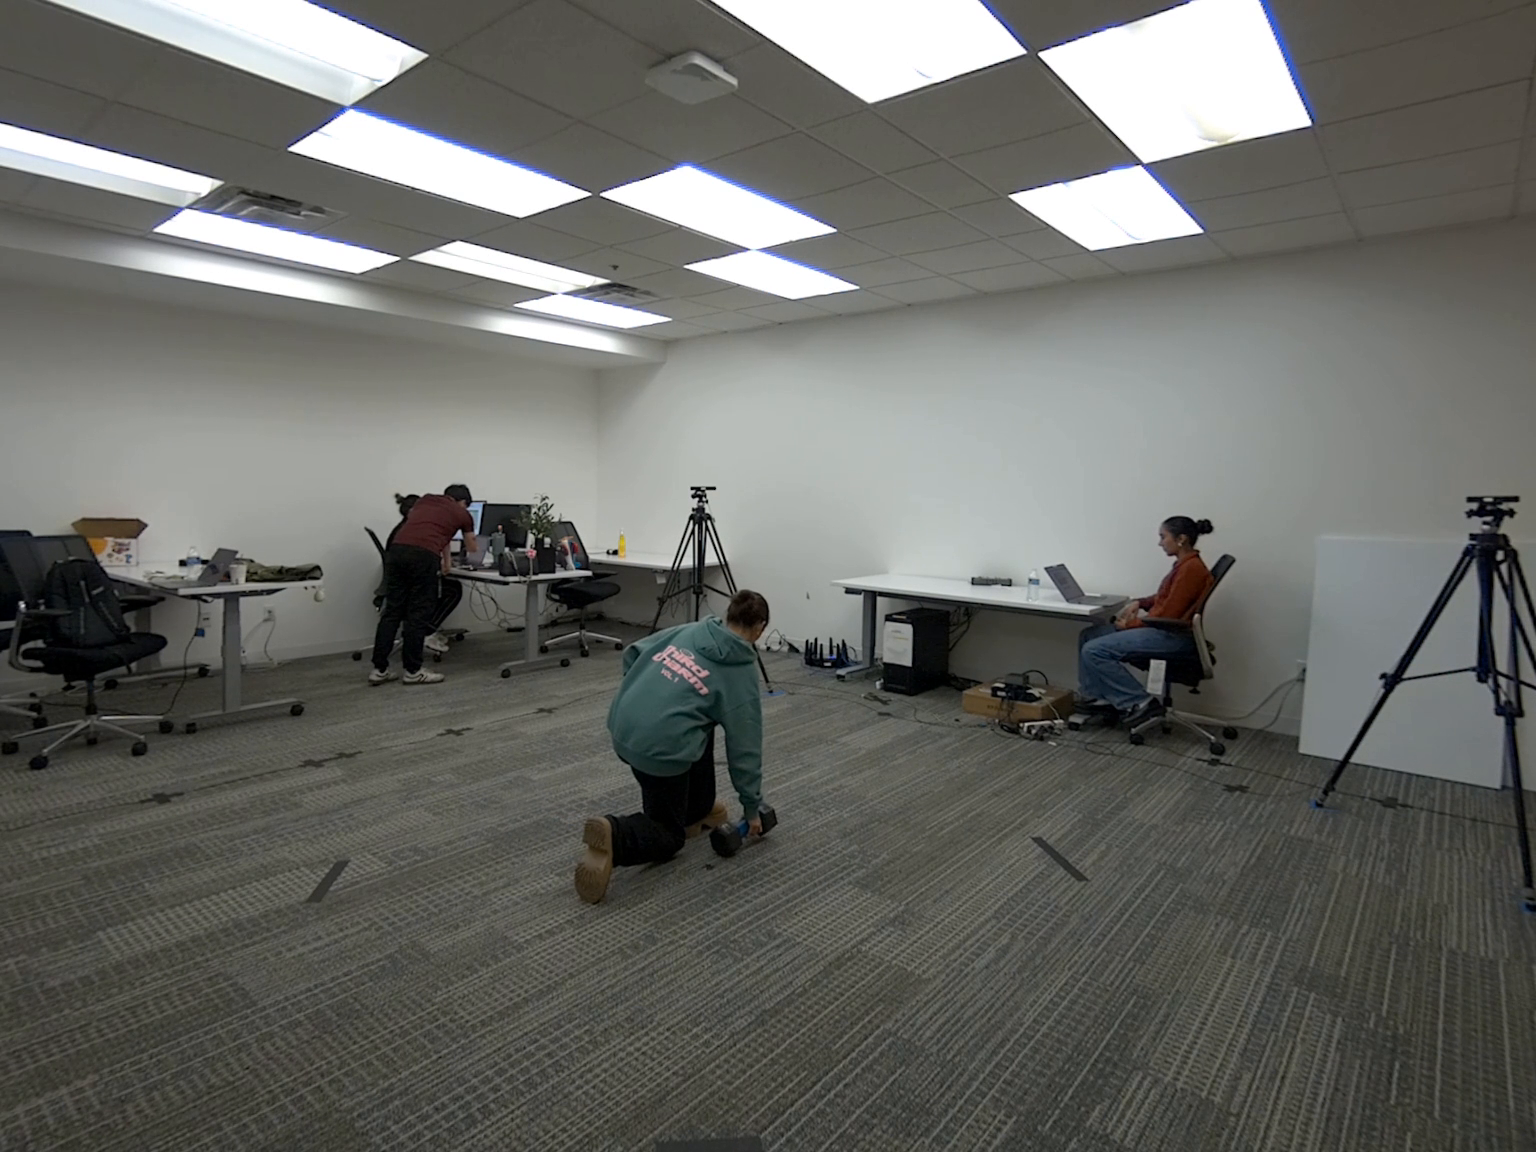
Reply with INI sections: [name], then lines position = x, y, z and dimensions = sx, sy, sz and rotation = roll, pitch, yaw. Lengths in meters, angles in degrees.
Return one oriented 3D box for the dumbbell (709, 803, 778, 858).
[dumbbell]
position = -0.103, 0.979, 3.298
dimensions = 0.286, 0.112, 0.122
rotation = -15, -31, -47
